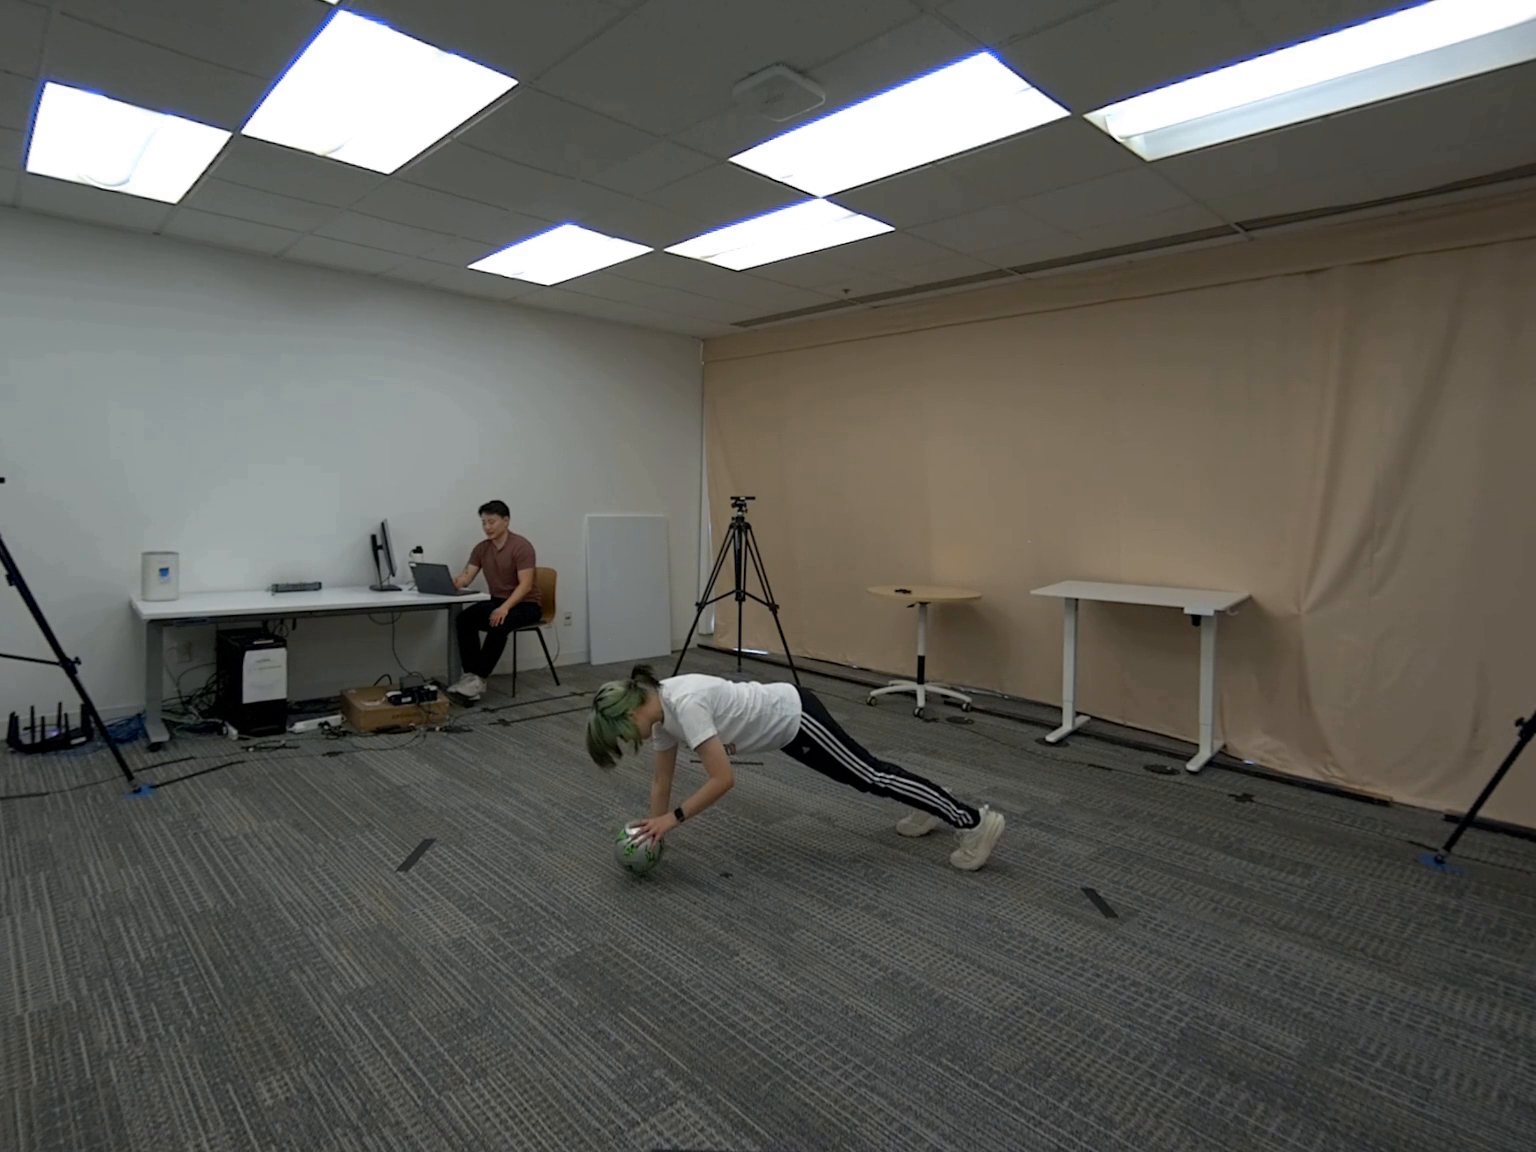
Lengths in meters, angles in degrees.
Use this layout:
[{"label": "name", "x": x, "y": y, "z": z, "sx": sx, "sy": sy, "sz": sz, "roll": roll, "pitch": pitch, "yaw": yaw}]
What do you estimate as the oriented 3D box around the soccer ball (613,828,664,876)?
[{"label": "soccer ball", "x": -0.480, "y": 0.983, "z": 3.056, "sx": 0.187, "sy": 0.187, "sz": 0.188, "roll": 1, "pitch": 4, "yaw": -1}]
